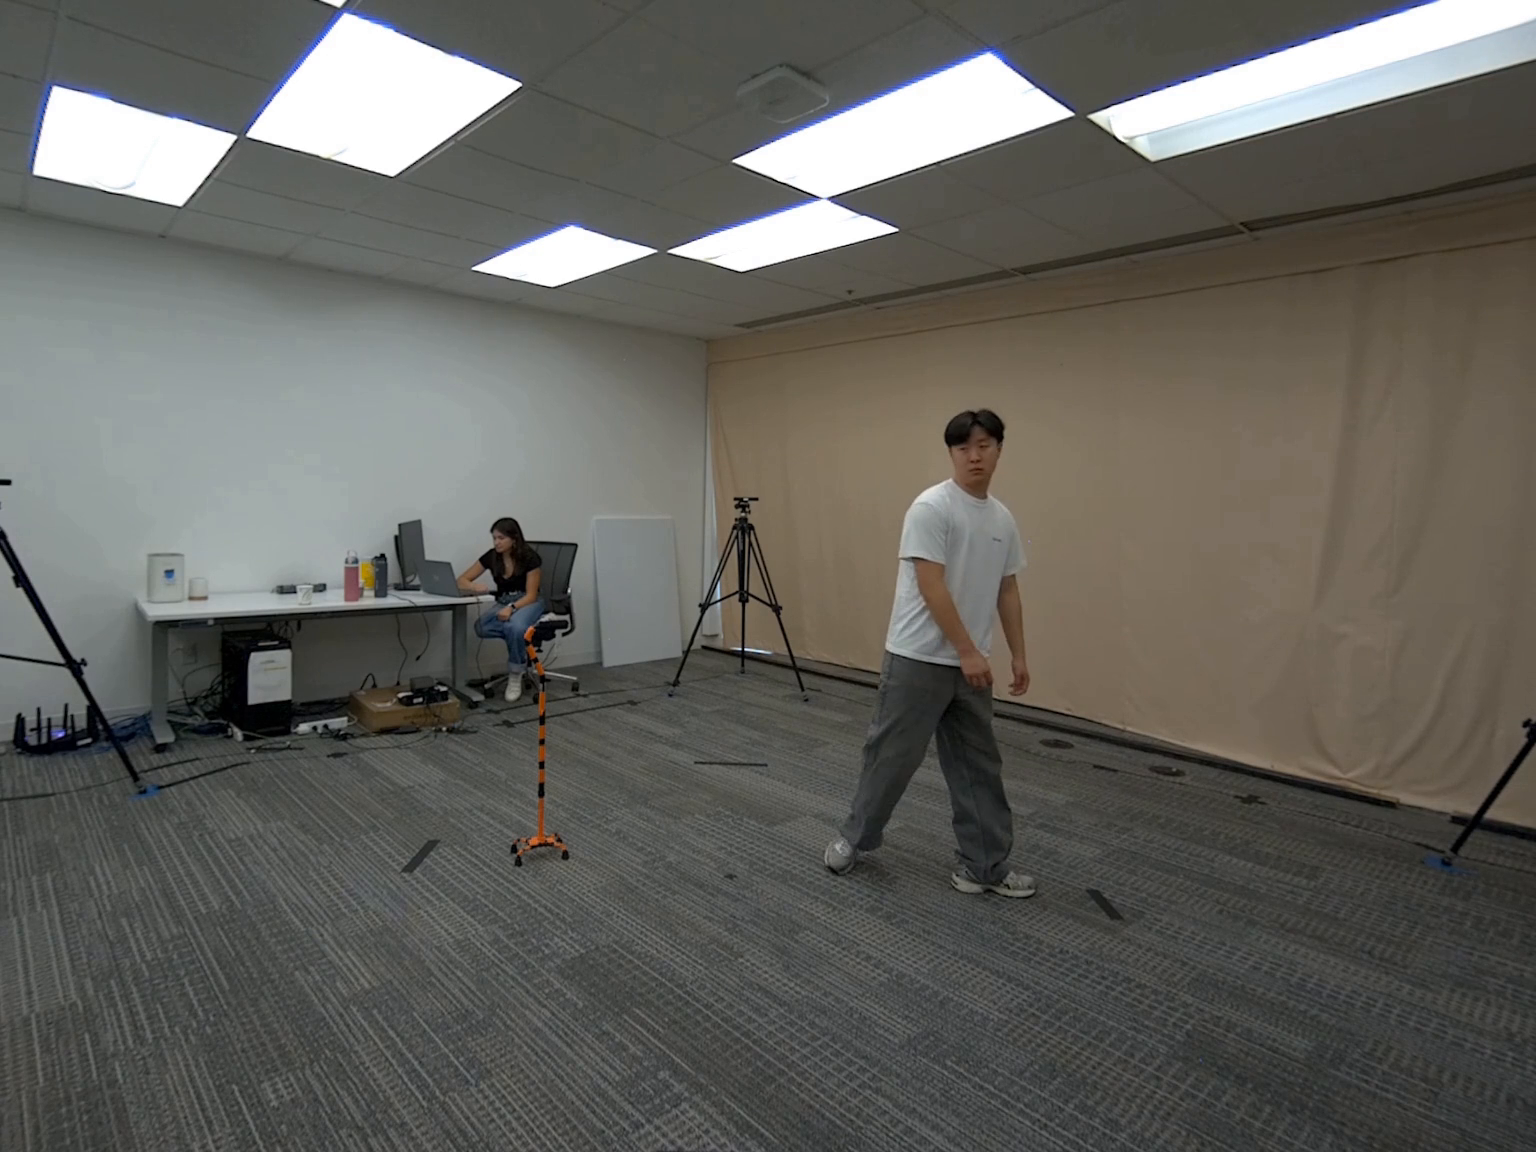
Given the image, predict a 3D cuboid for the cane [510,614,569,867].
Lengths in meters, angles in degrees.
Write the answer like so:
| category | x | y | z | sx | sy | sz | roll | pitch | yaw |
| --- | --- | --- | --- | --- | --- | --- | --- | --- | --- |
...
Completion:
| category | x | y | z | sx | sy | sz | roll | pitch | yaw |
| --- | --- | --- | --- | --- | --- | --- | --- | --- | --- |
| cane | -0.878 | 0.621 | 3.230 | 0.203 | 0.906 | 0.154 | -1 | 3 | -24 |
